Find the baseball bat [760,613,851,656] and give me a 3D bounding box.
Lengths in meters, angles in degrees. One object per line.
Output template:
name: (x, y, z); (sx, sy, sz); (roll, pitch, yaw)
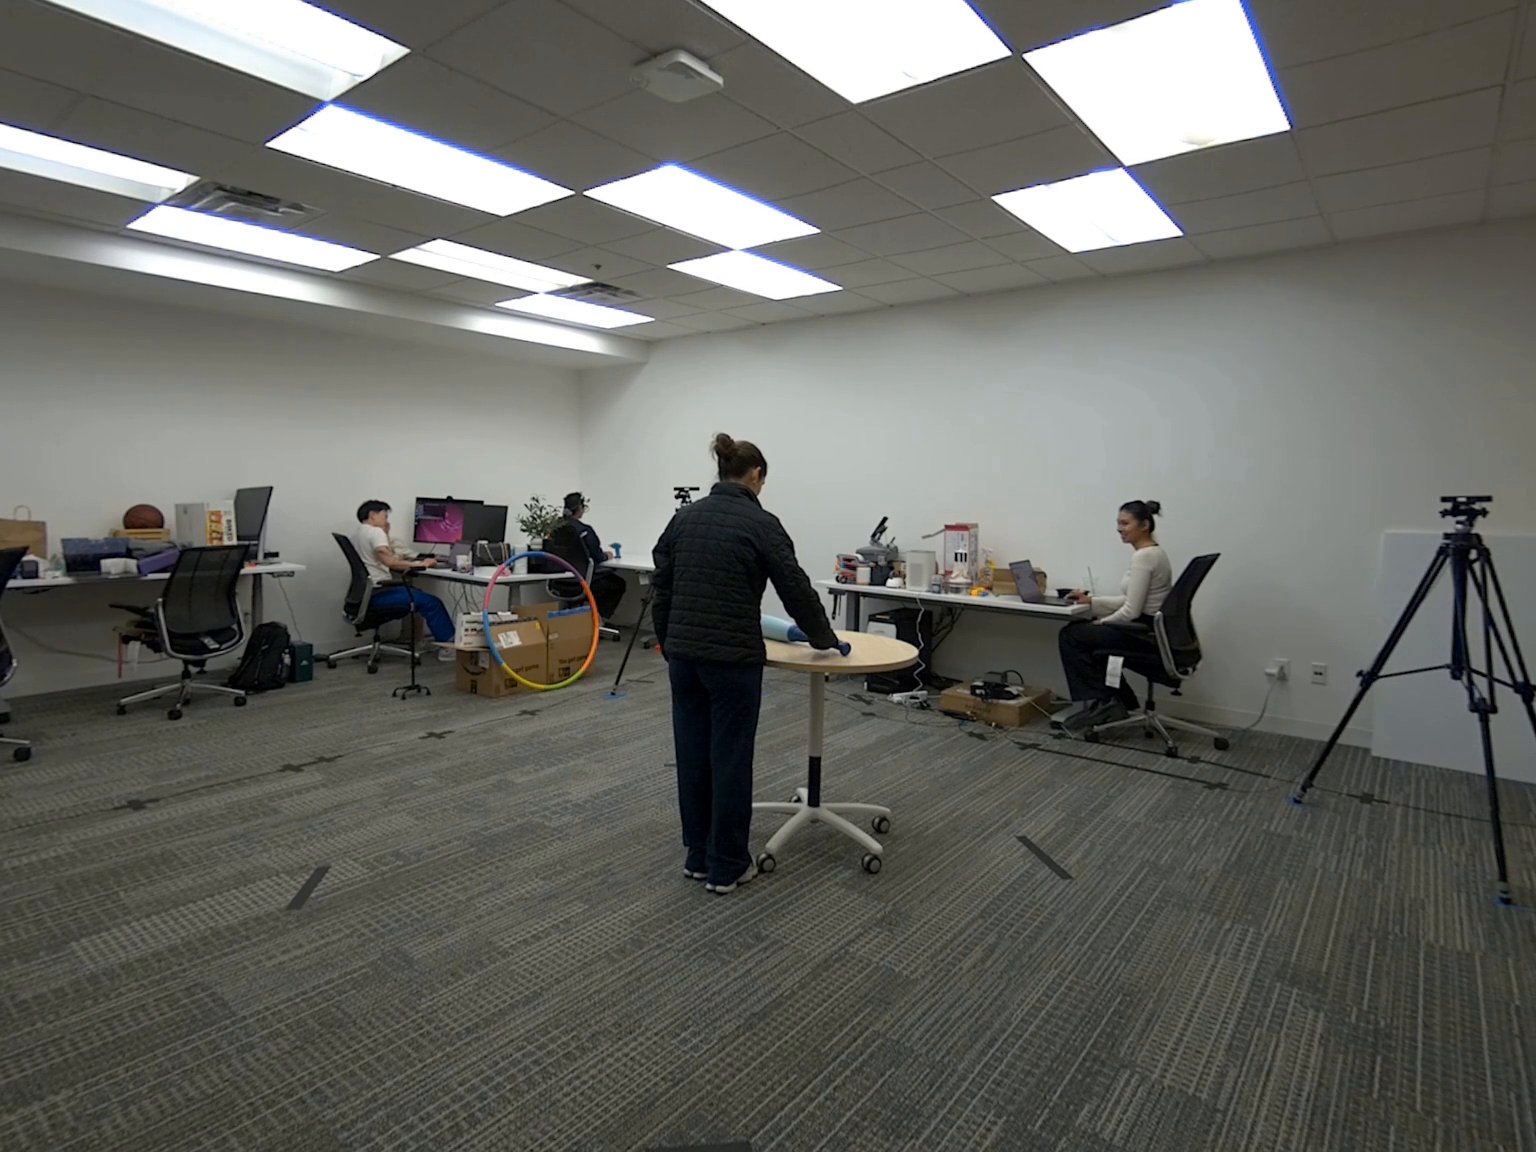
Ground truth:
baseball bat: (0.129, 0.229, 3.347); (0.086, 0.088, 0.563); (-3, 10, -40)
